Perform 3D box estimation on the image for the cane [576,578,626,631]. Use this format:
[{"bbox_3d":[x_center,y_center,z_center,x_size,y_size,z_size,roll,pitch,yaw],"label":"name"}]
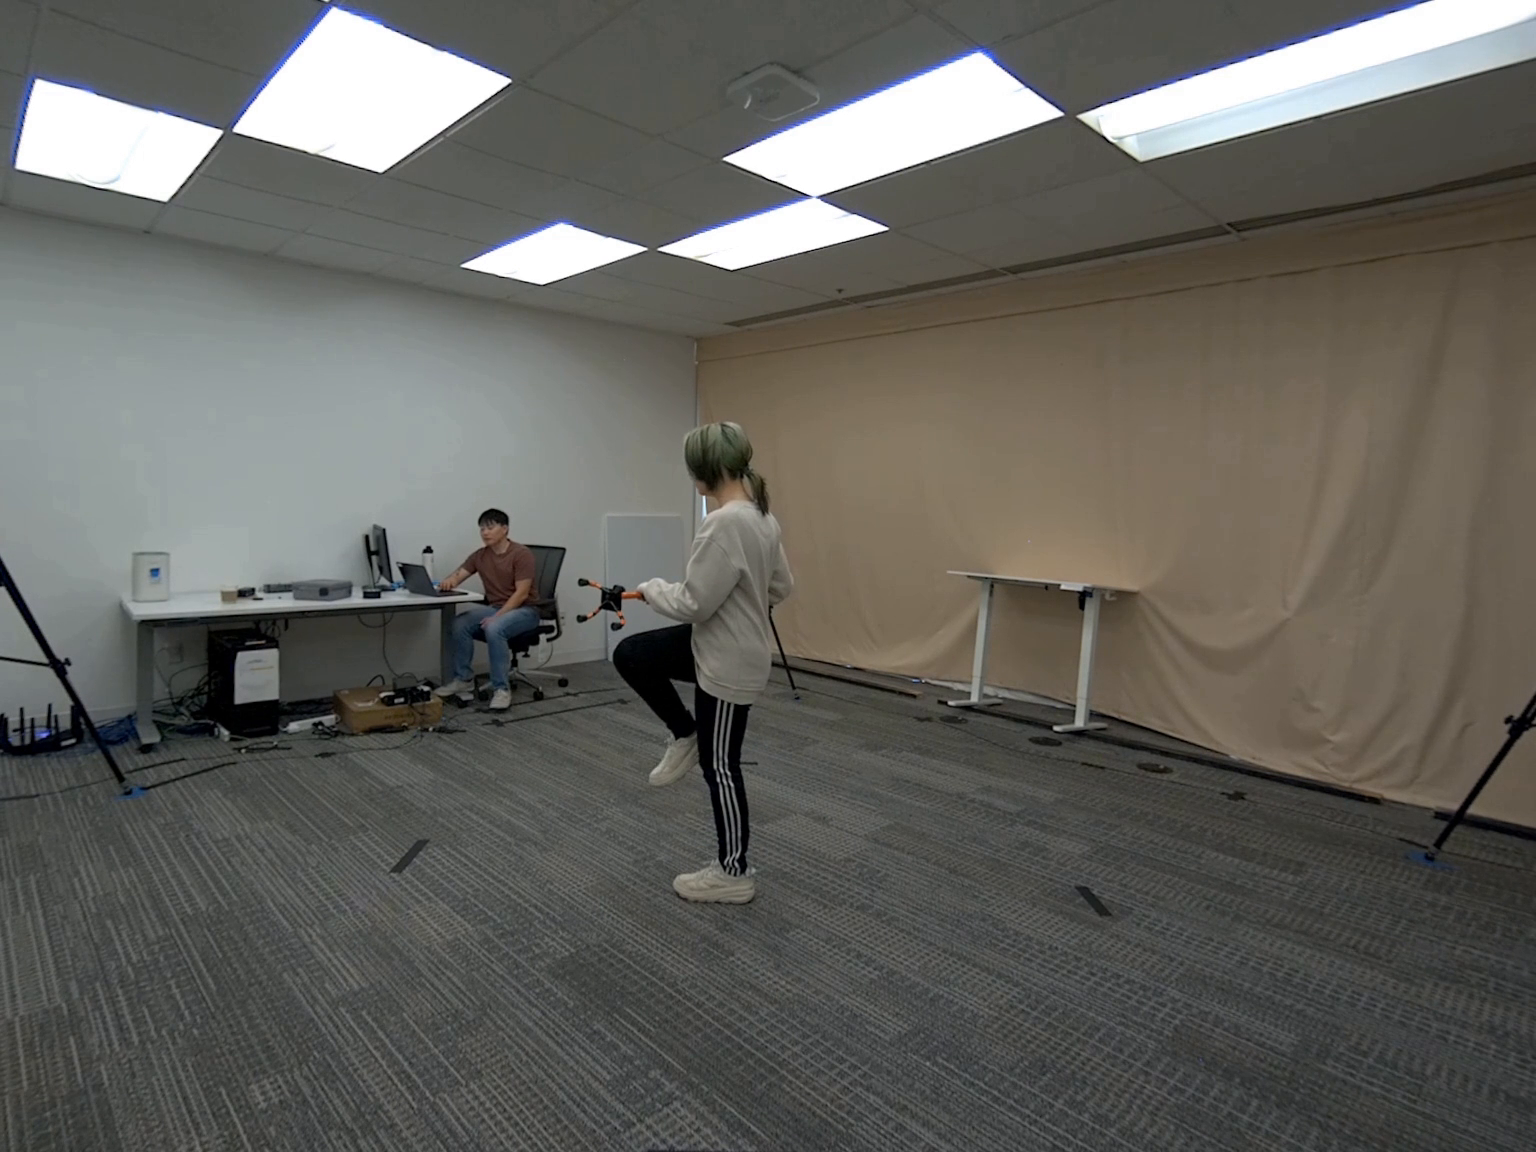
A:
[{"bbox_3d":[-0.310,0.071,3.121,0.212,0.151,0.888,7,7,39],"label":"cane"}]
